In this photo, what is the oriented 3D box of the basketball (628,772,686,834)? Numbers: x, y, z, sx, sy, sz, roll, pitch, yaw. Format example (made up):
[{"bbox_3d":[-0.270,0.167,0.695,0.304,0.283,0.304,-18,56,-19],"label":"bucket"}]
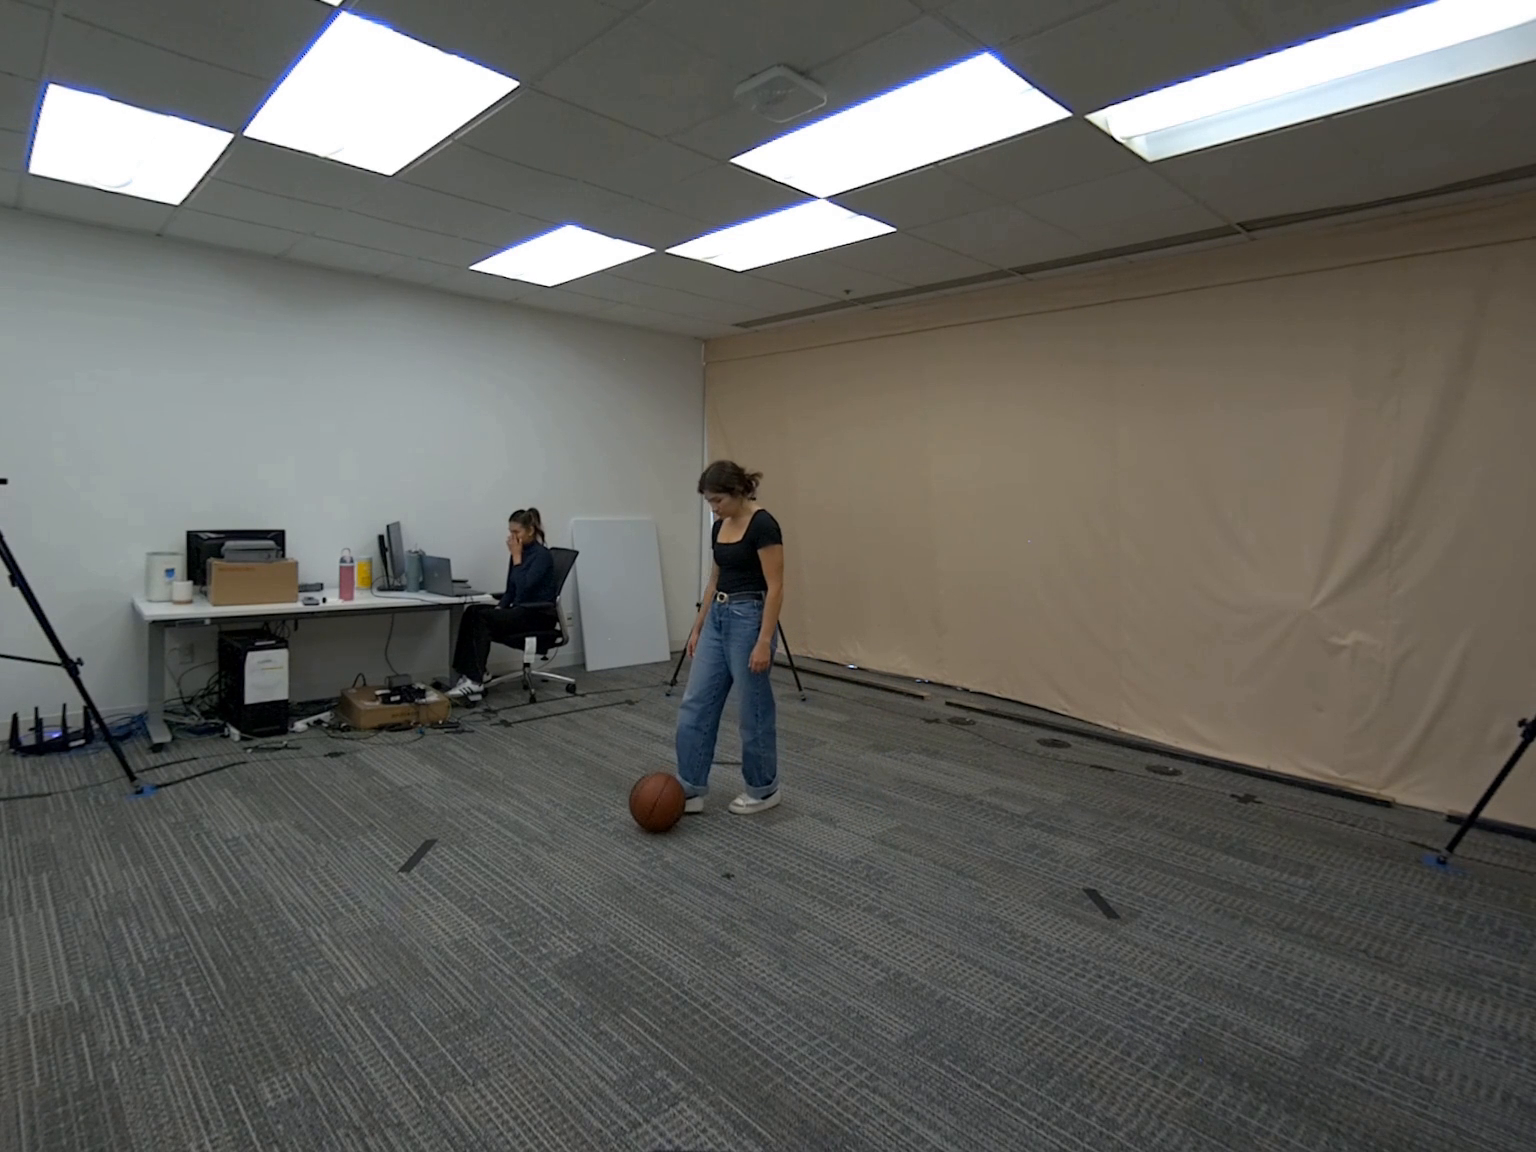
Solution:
[{"bbox_3d":[-0.469,0.939,3.515,0.236,0.235,0.237,1,4,-1],"label":"basketball"}]
